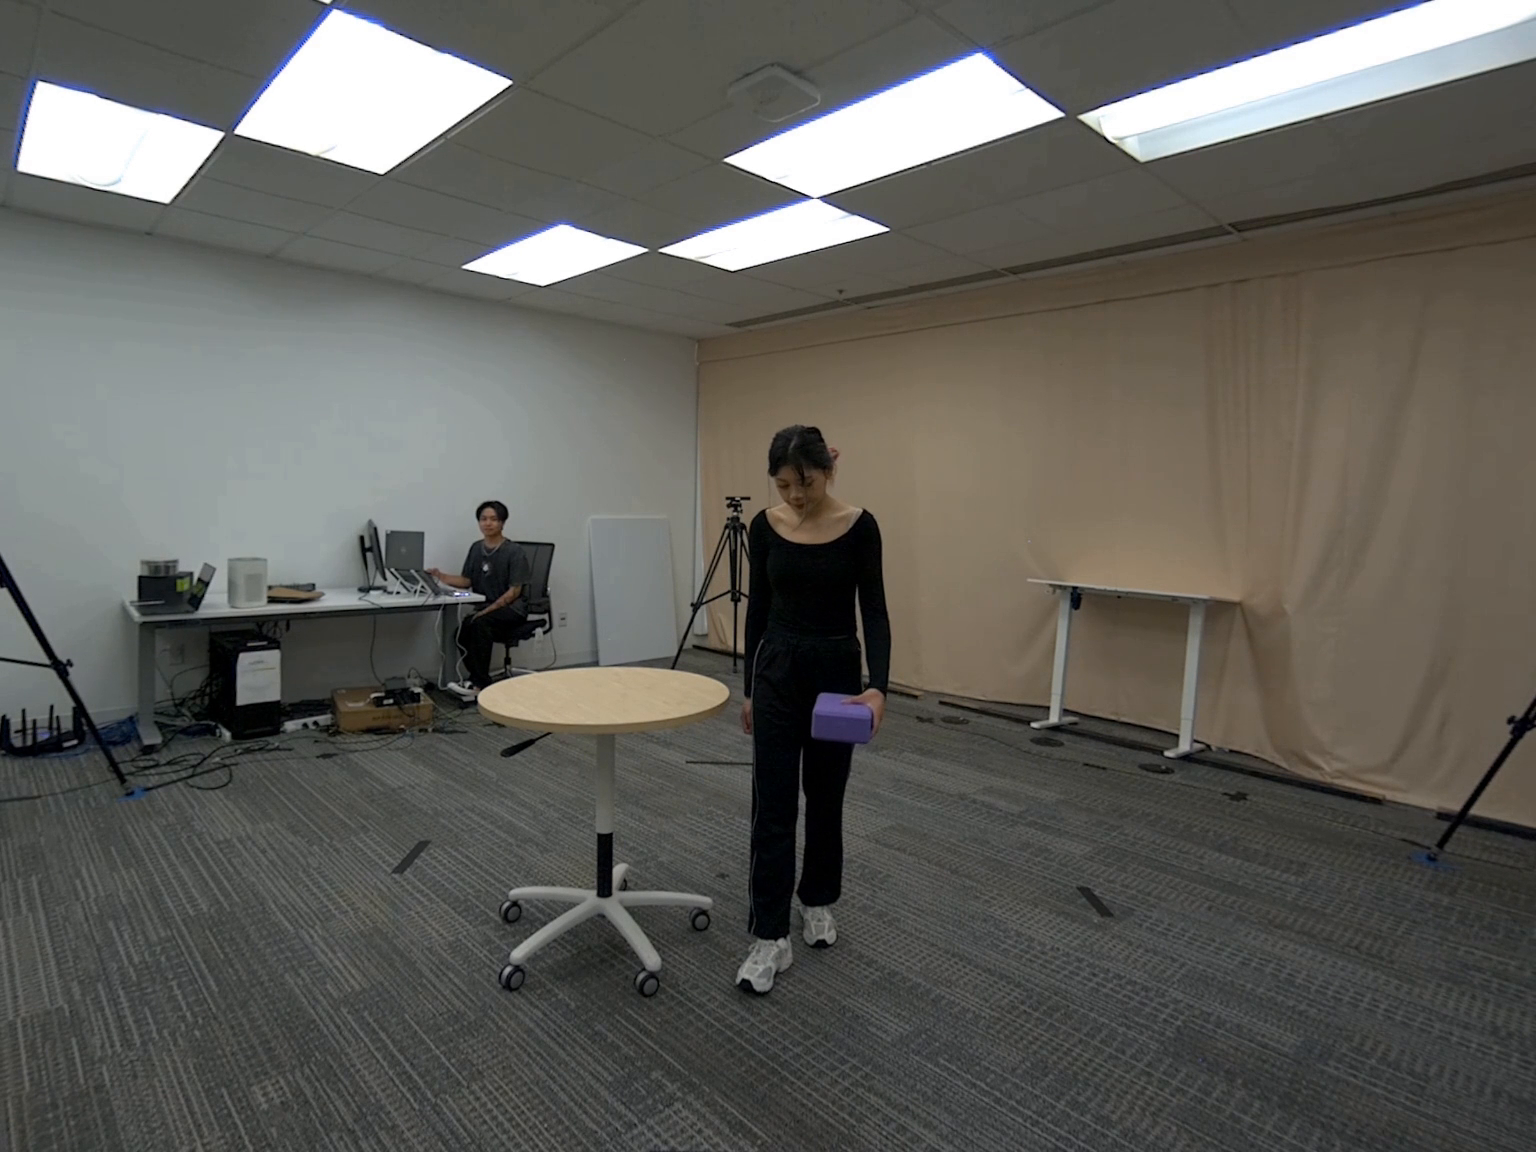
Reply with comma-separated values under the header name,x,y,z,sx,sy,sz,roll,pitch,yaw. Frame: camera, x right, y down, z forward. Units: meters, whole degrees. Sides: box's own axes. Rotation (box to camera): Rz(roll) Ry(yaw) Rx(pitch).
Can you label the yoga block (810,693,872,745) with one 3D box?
name,x,y,z,sx,sy,sz,roll,pitch,yaw
yoga block,0.189,0.380,2.214,0.150,0.076,0.227,5,5,11
